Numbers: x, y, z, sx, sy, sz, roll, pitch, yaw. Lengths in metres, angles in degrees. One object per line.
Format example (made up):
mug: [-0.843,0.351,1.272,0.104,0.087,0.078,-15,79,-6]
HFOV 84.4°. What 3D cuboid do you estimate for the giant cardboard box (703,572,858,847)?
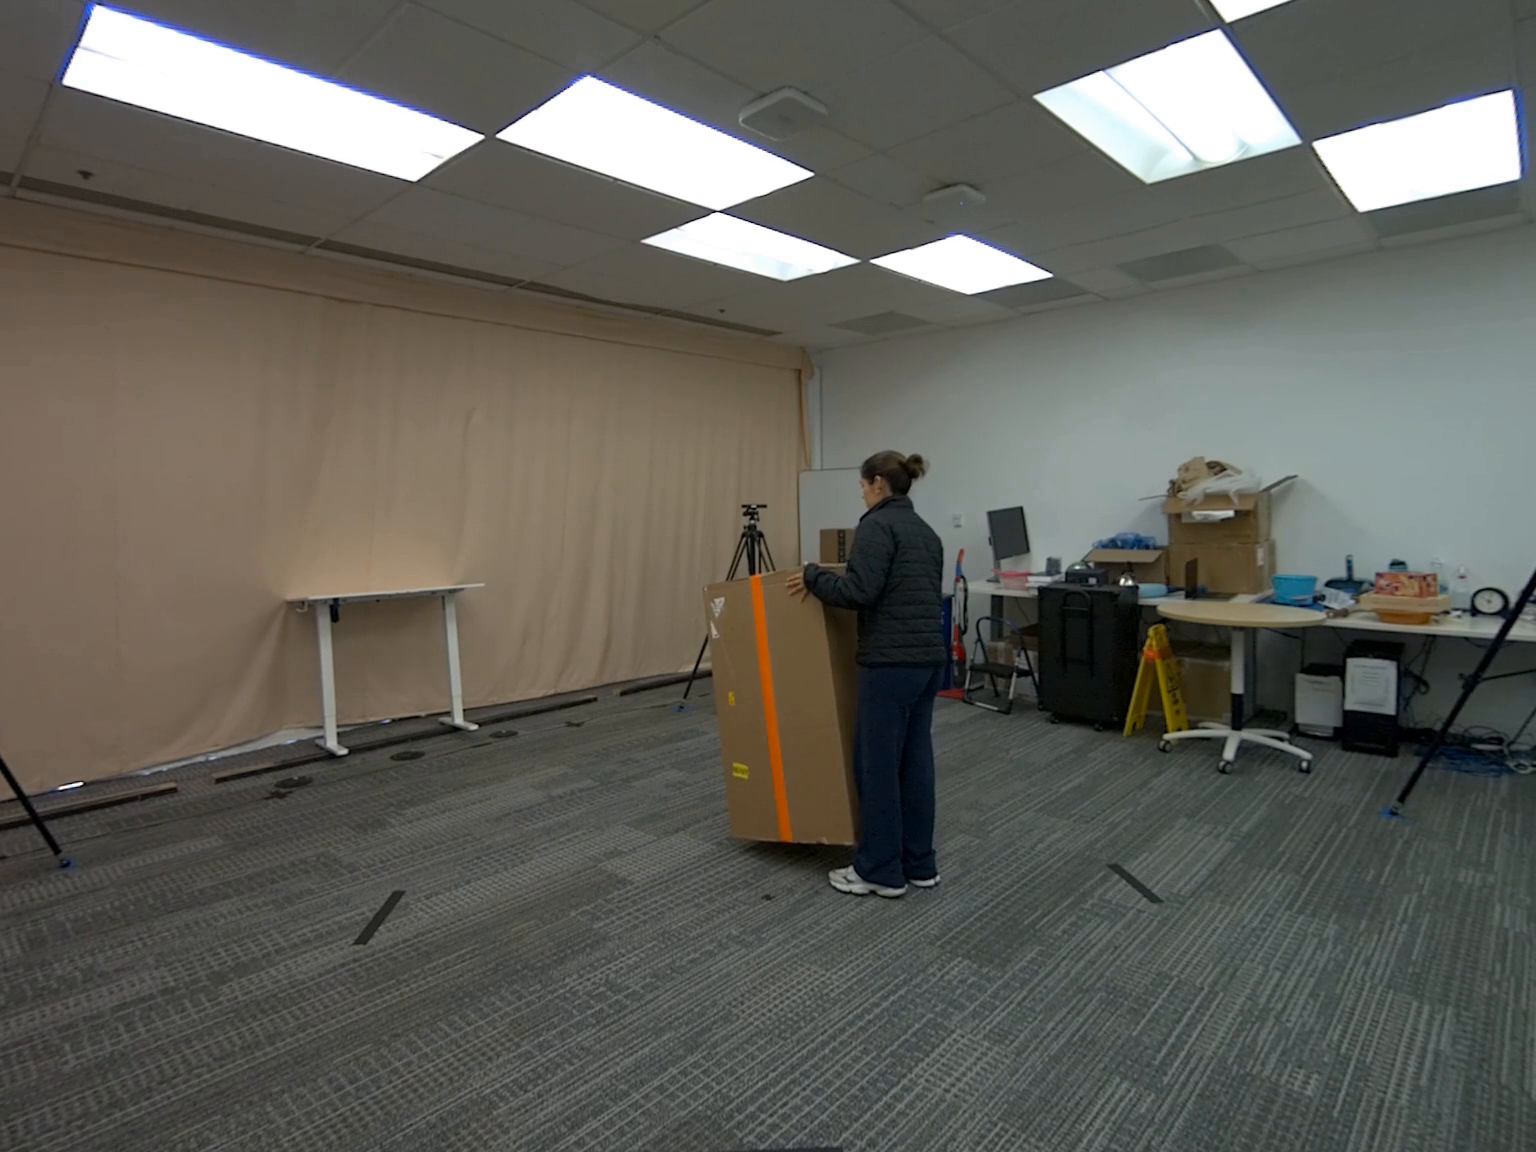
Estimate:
giant cardboard box: [0.145,0.505,3.413,0.593,1.031,0.413,-12,-9,38]
